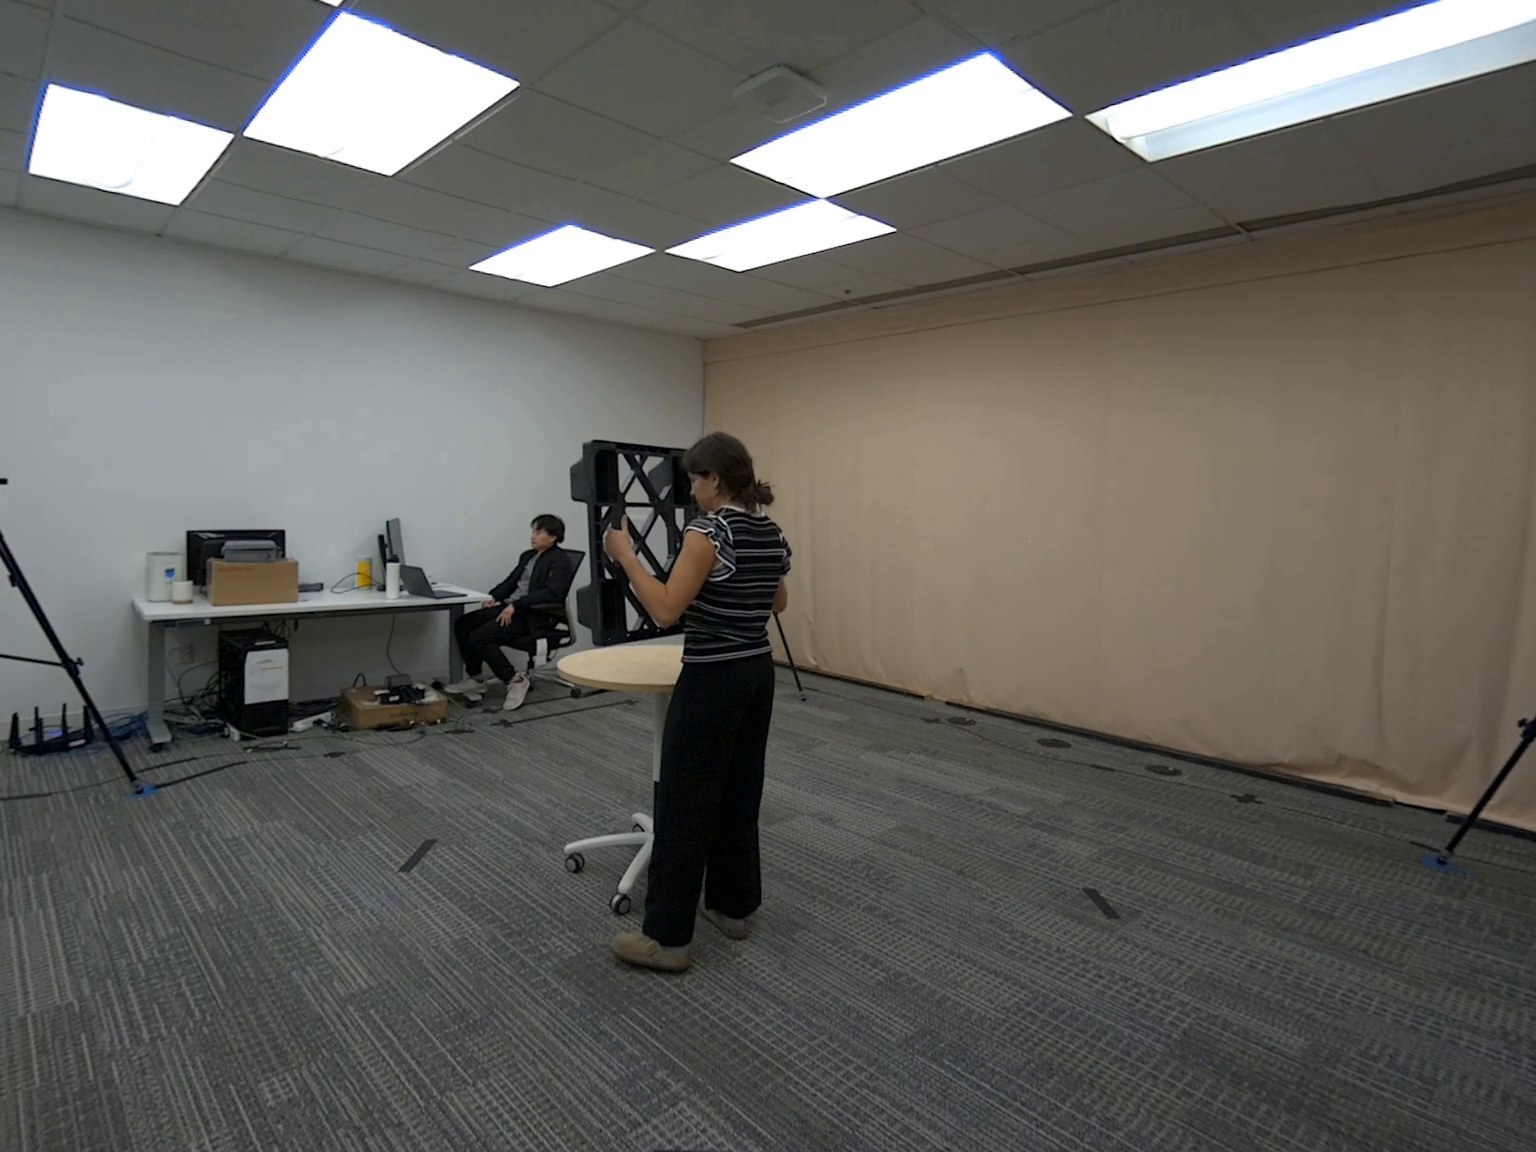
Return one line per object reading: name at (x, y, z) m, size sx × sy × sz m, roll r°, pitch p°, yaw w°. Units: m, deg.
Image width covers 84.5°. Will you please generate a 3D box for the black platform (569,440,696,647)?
black platform at (-0.323, -0.119, 2.754) m, size 0.146 × 0.606 × 0.788 m, roll -6°, pitch -1°, yaw 35°
